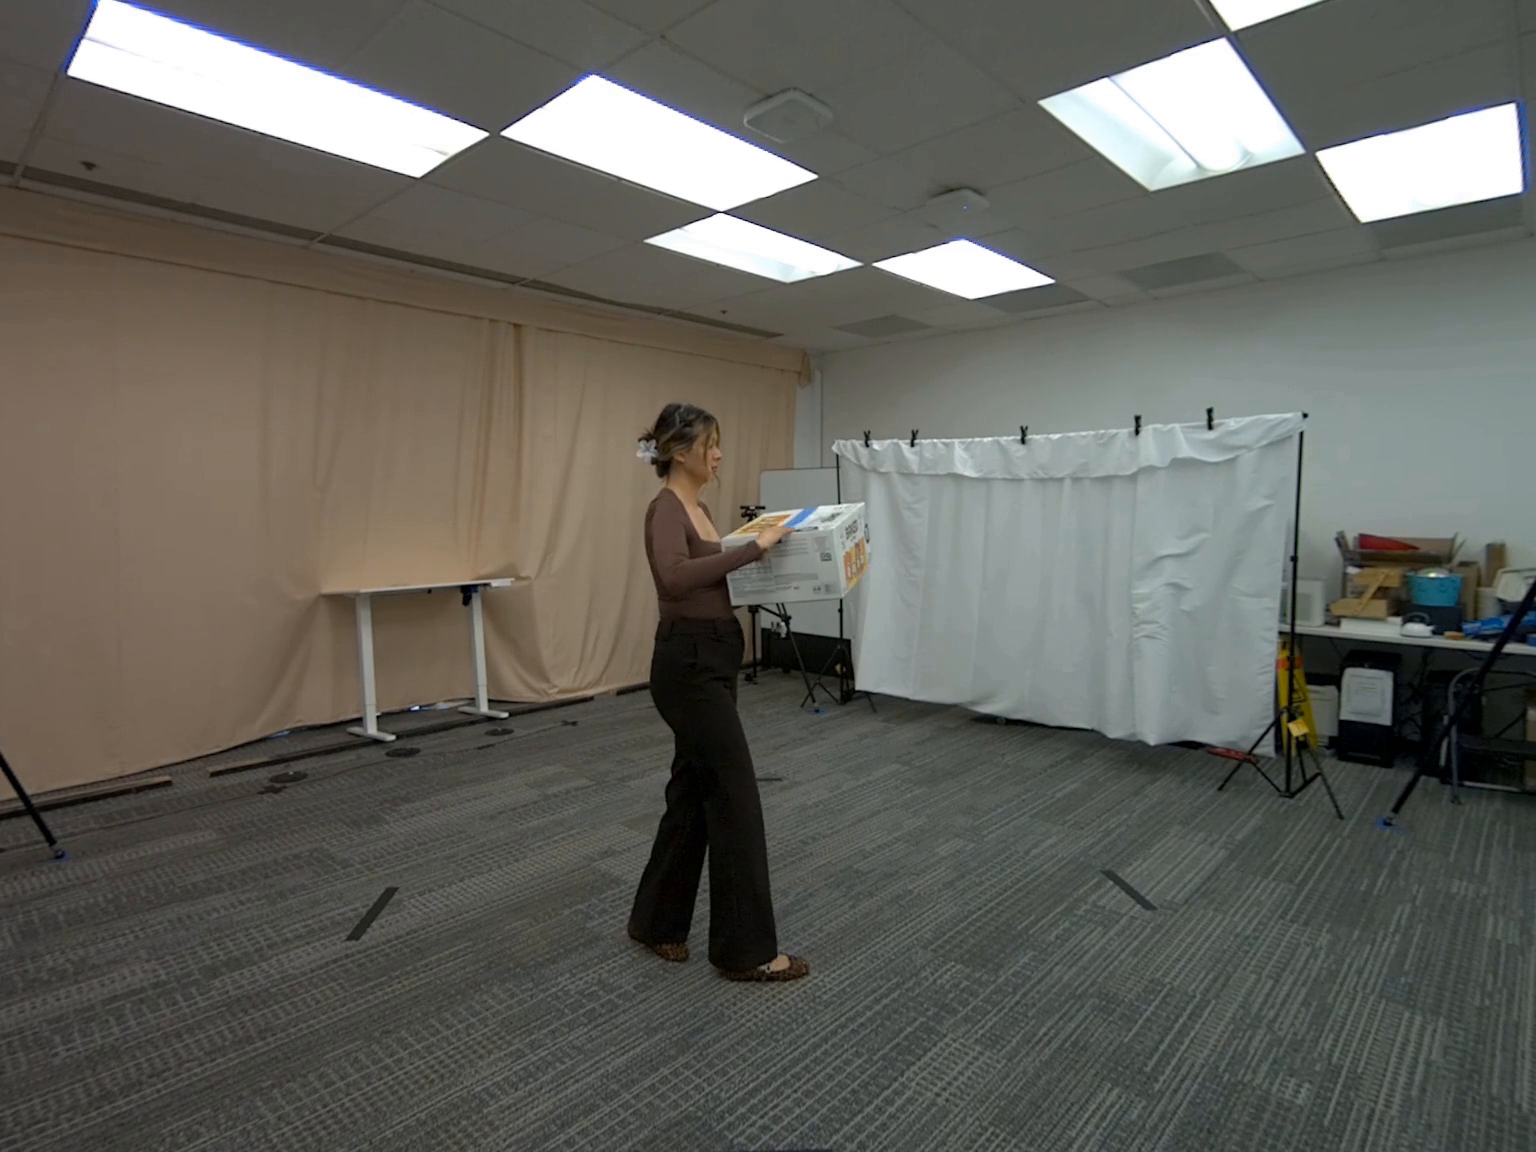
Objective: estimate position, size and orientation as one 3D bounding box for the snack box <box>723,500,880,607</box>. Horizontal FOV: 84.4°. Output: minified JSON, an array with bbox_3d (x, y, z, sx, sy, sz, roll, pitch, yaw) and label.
[{"bbox_3d":[0.111,-0.076,2.549,0.348,0.204,0.400,-5,12,22],"label":"snack box"}]
